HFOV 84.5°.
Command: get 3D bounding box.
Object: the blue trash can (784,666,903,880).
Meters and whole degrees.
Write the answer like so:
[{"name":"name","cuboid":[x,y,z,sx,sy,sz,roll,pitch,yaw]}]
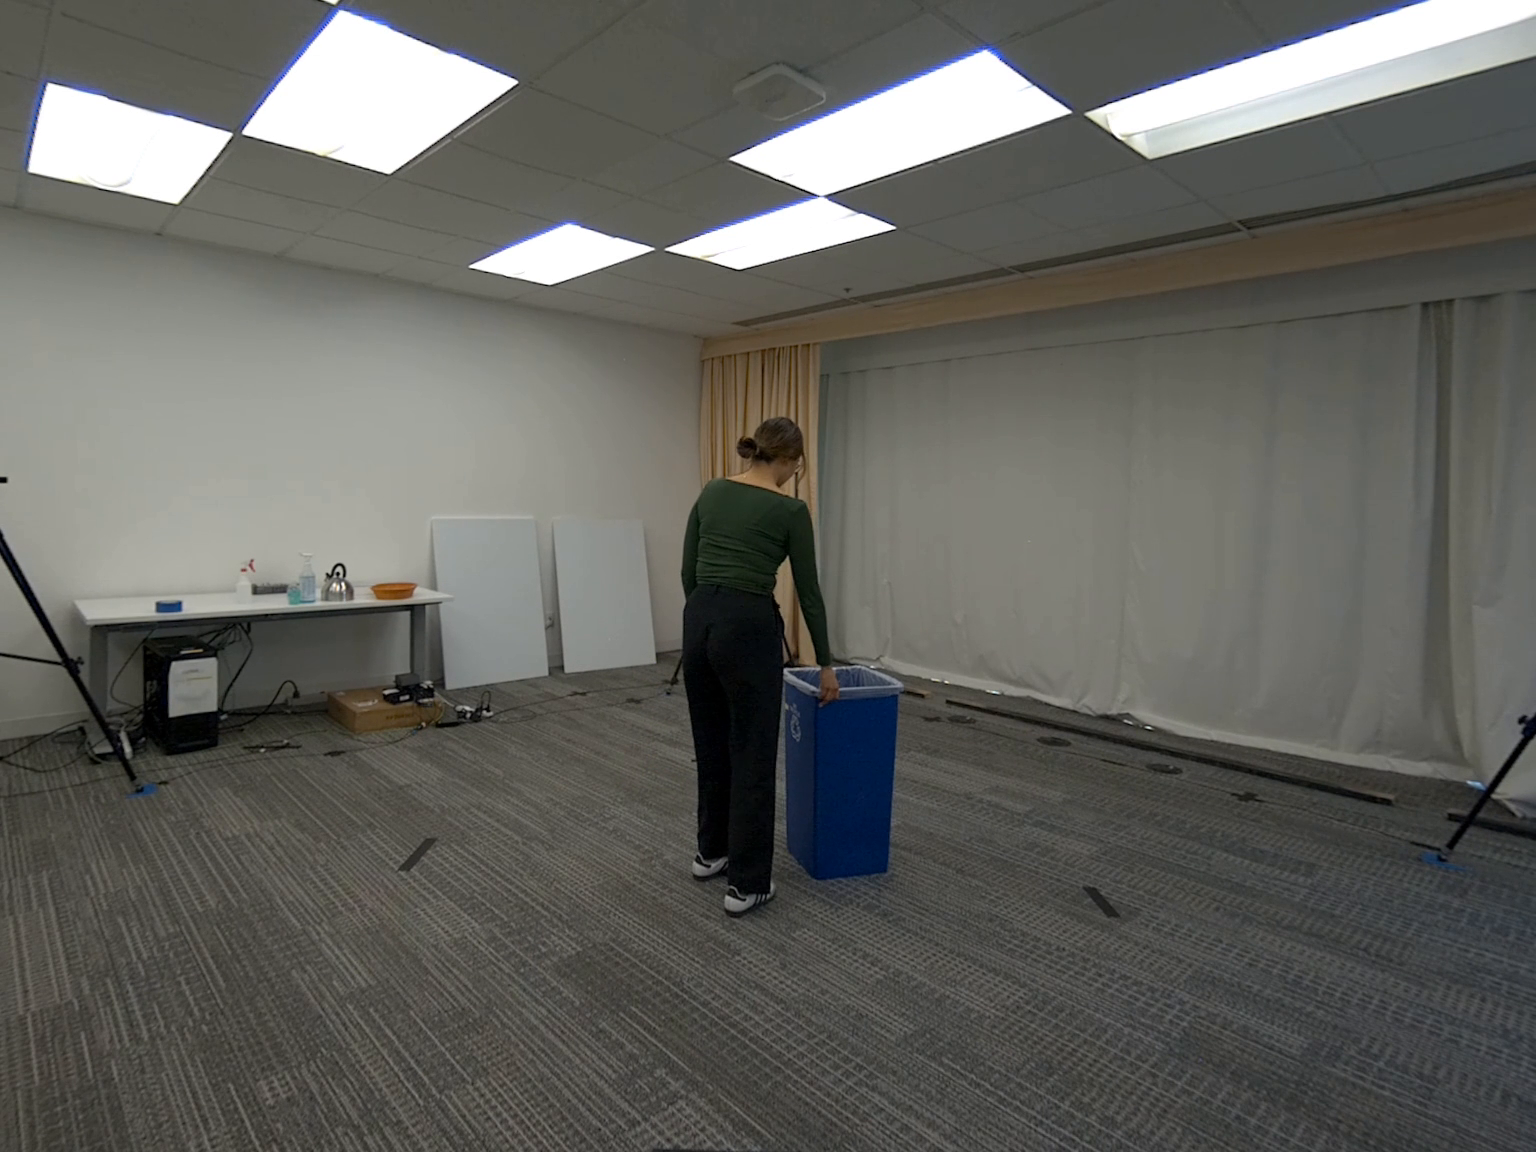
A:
[{"name":"blue trash can","cuboid":[0.268,0.740,3.238,0.369,0.711,0.384,-1,5,-19]}]
